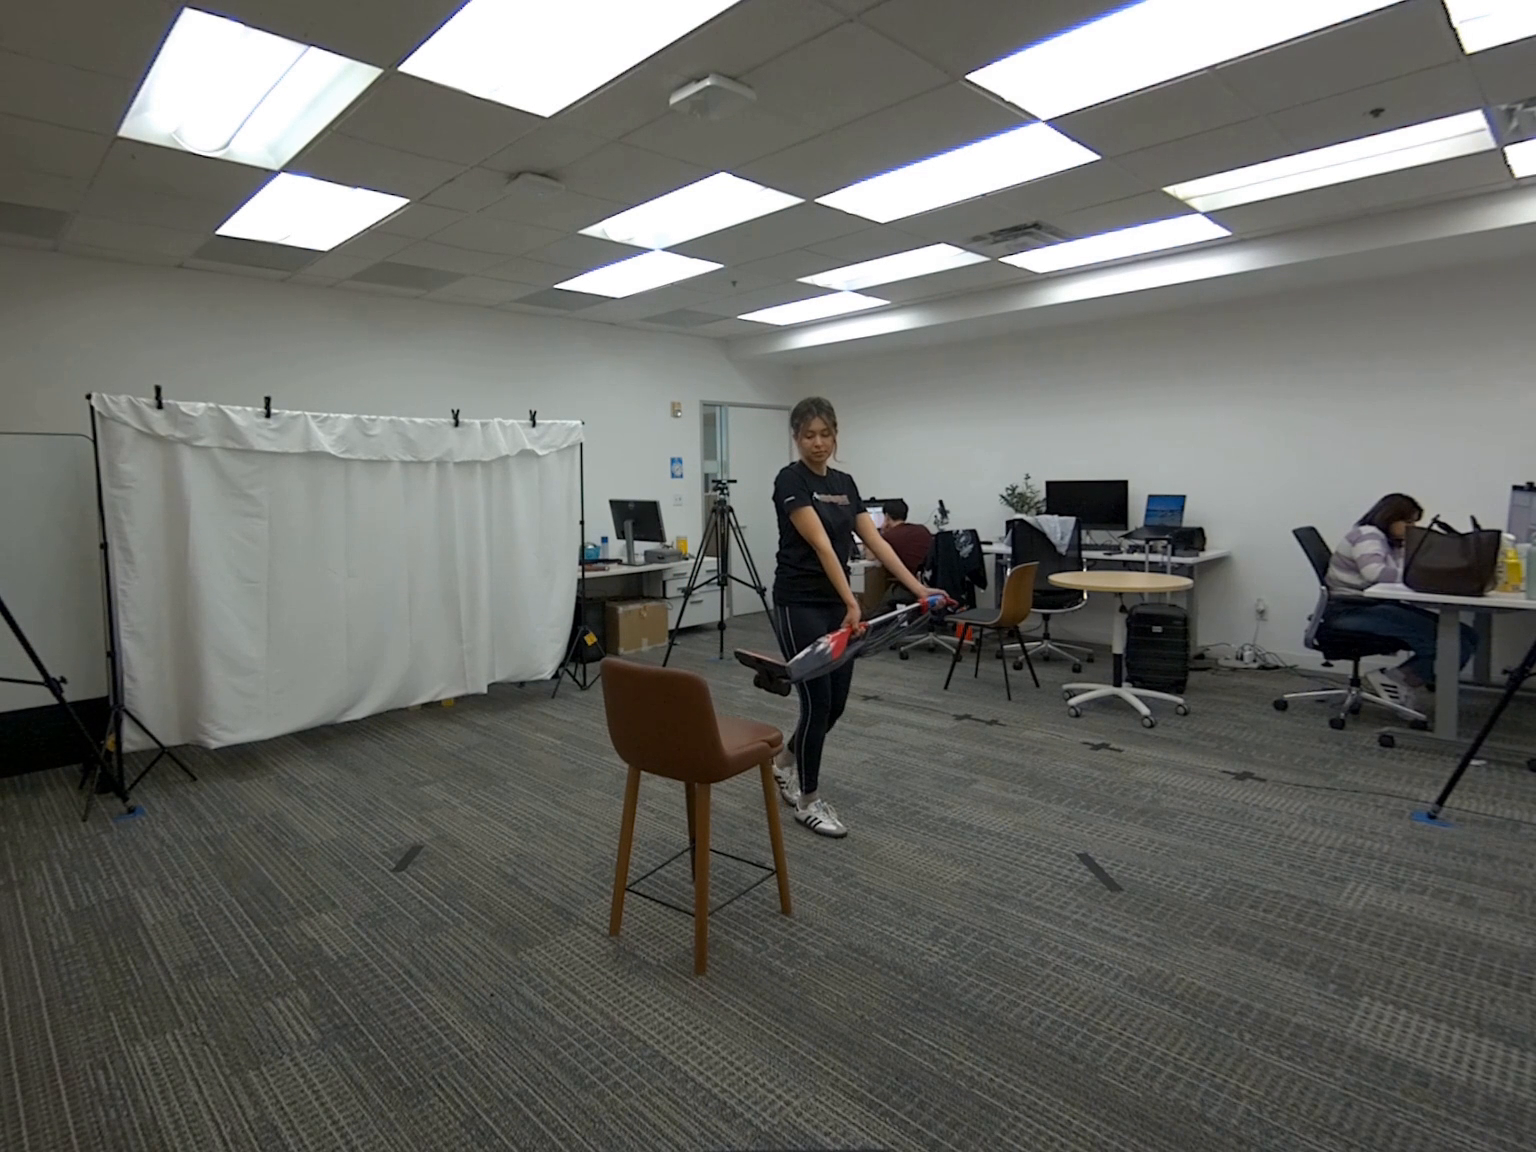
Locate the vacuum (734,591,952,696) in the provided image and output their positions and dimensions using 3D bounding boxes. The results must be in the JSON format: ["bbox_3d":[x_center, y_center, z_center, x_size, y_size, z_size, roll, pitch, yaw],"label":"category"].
[{"bbox_3d":[0.374,0.231,3.107,1.027,0.142,0.260,-15,15,-38],"label":"vacuum"}]
